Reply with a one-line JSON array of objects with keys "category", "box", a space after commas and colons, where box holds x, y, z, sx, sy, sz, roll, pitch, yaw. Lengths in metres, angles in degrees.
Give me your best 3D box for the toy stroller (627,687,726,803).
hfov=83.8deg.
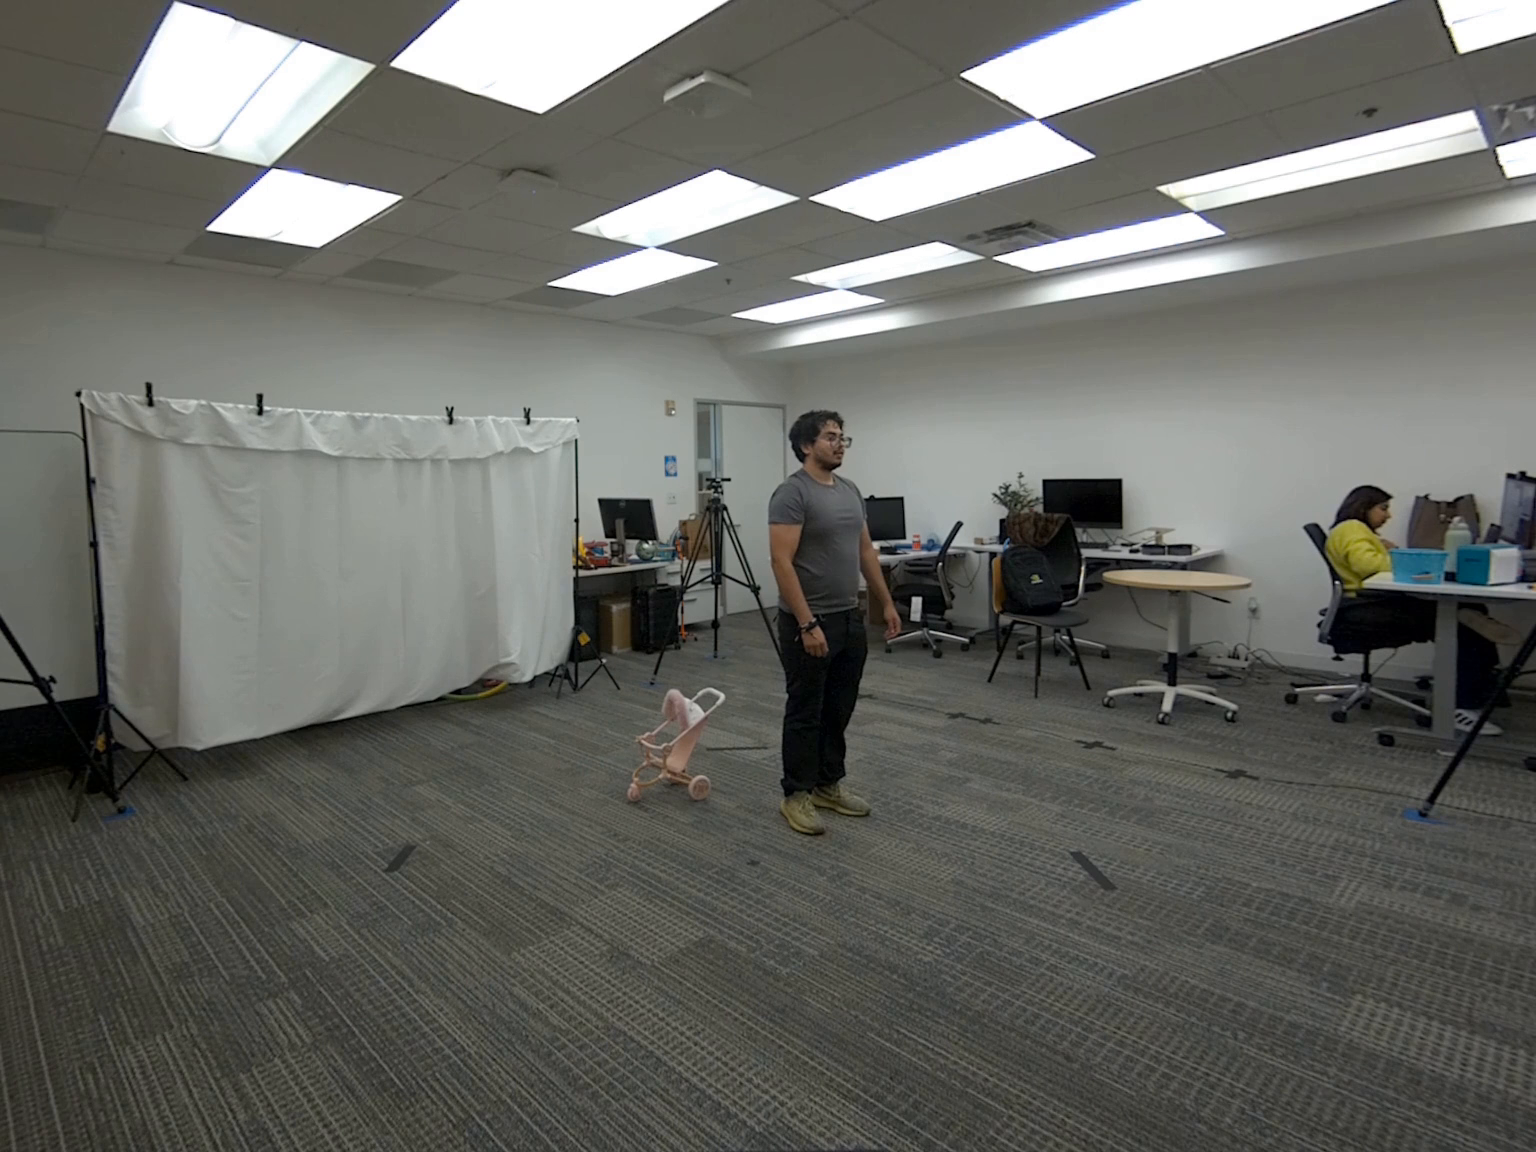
[{"category": "toy stroller", "box": [-0.423, 0.746, 3.803, 0.332, 0.536, 0.288, 14, -3, -26]}]
